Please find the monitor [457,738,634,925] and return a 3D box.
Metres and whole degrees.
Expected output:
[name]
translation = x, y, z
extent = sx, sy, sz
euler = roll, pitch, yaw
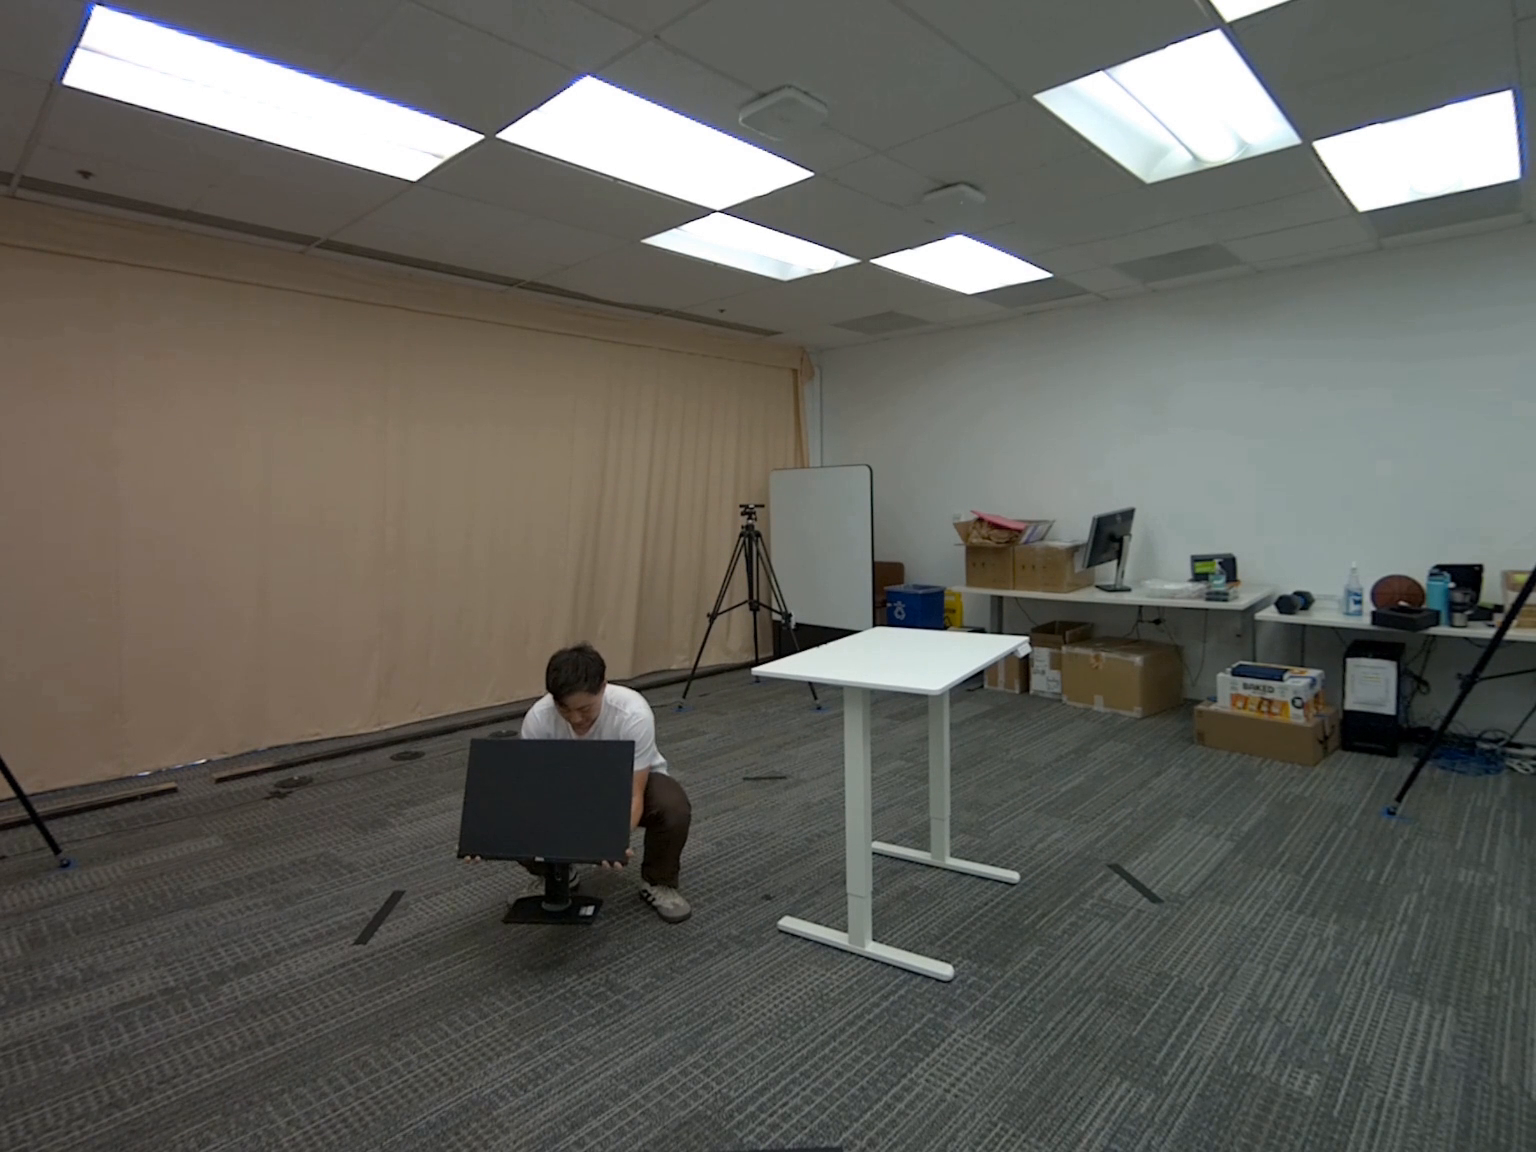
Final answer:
[monitor]
translation = -0.653, 0.758, 2.552
extent = 0.544, 0.523, 0.185
euler = -2, -1, 9
